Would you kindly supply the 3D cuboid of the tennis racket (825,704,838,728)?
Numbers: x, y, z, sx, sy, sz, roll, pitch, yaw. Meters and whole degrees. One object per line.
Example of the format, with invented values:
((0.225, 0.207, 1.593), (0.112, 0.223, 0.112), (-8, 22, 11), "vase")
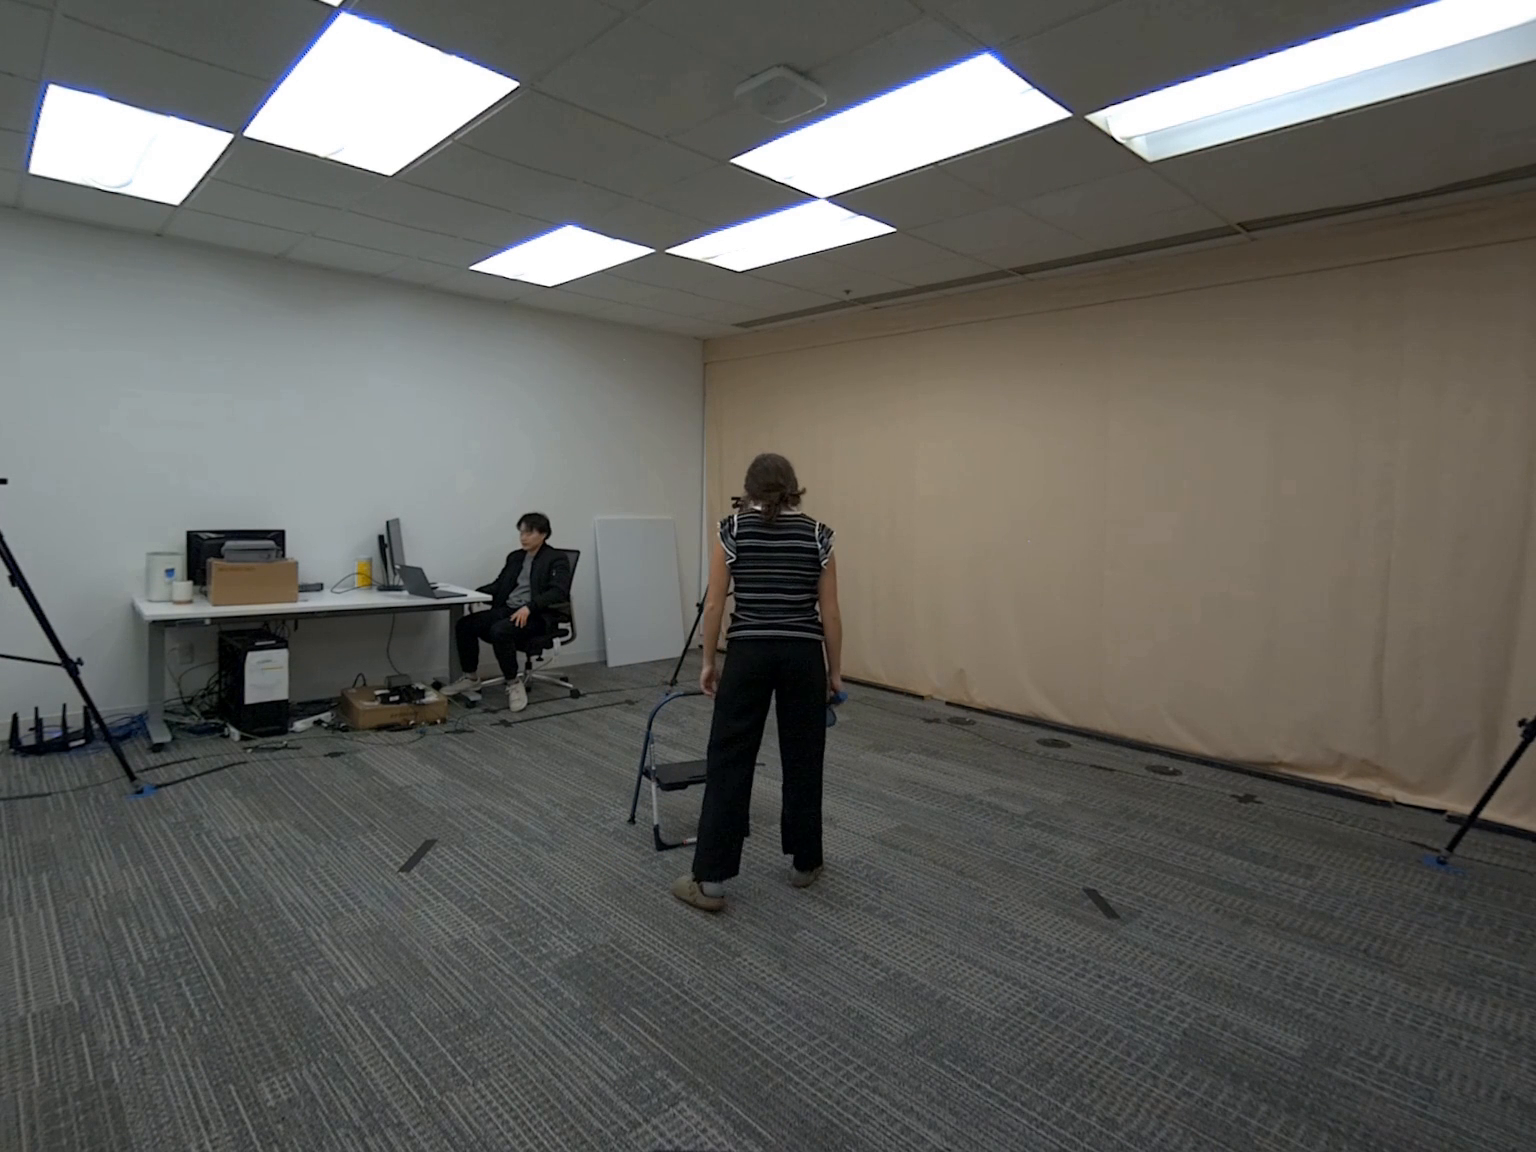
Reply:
((0.180, 0.491, 3.183), (0.212, 0.032, 0.434), (37, -28, -7), "tennis racket")
